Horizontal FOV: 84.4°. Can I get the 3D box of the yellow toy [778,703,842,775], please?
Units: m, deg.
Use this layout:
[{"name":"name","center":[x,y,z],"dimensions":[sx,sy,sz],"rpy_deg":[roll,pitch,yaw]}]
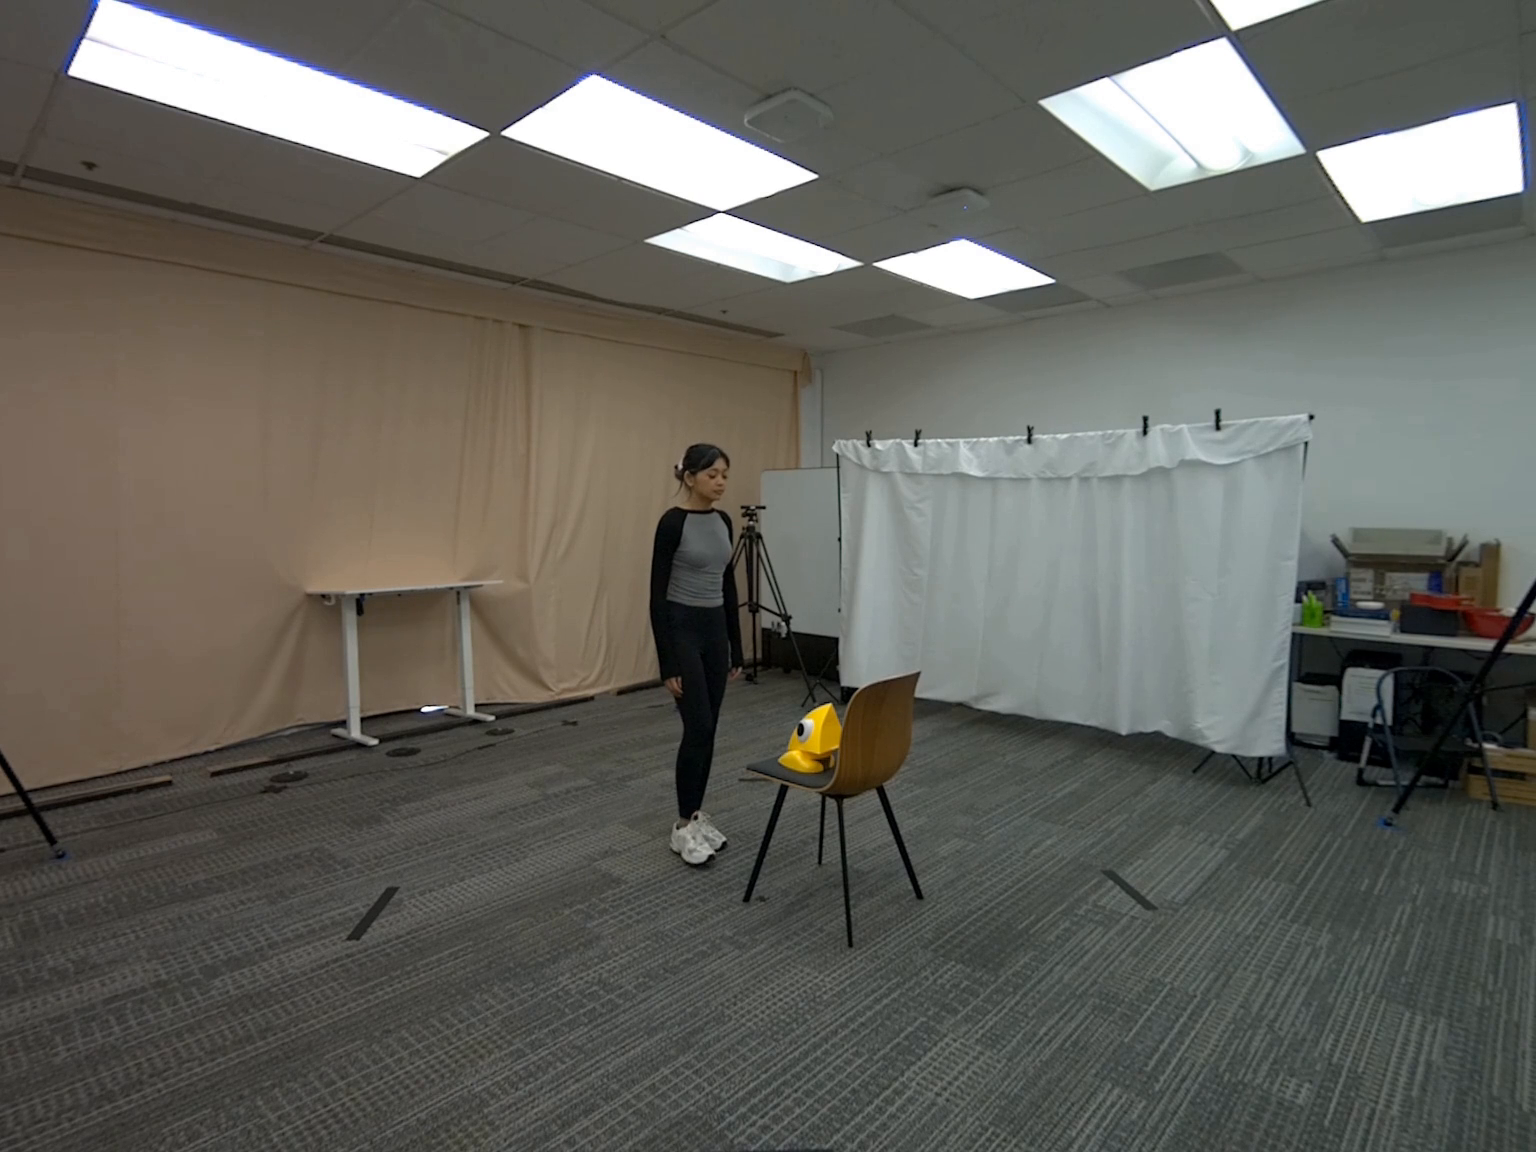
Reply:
[{"name":"yellow toy","center":[0.162,0.549,2.955],"dimensions":[0.199,0.230,0.199],"rpy_deg":[8,6,35]}]
